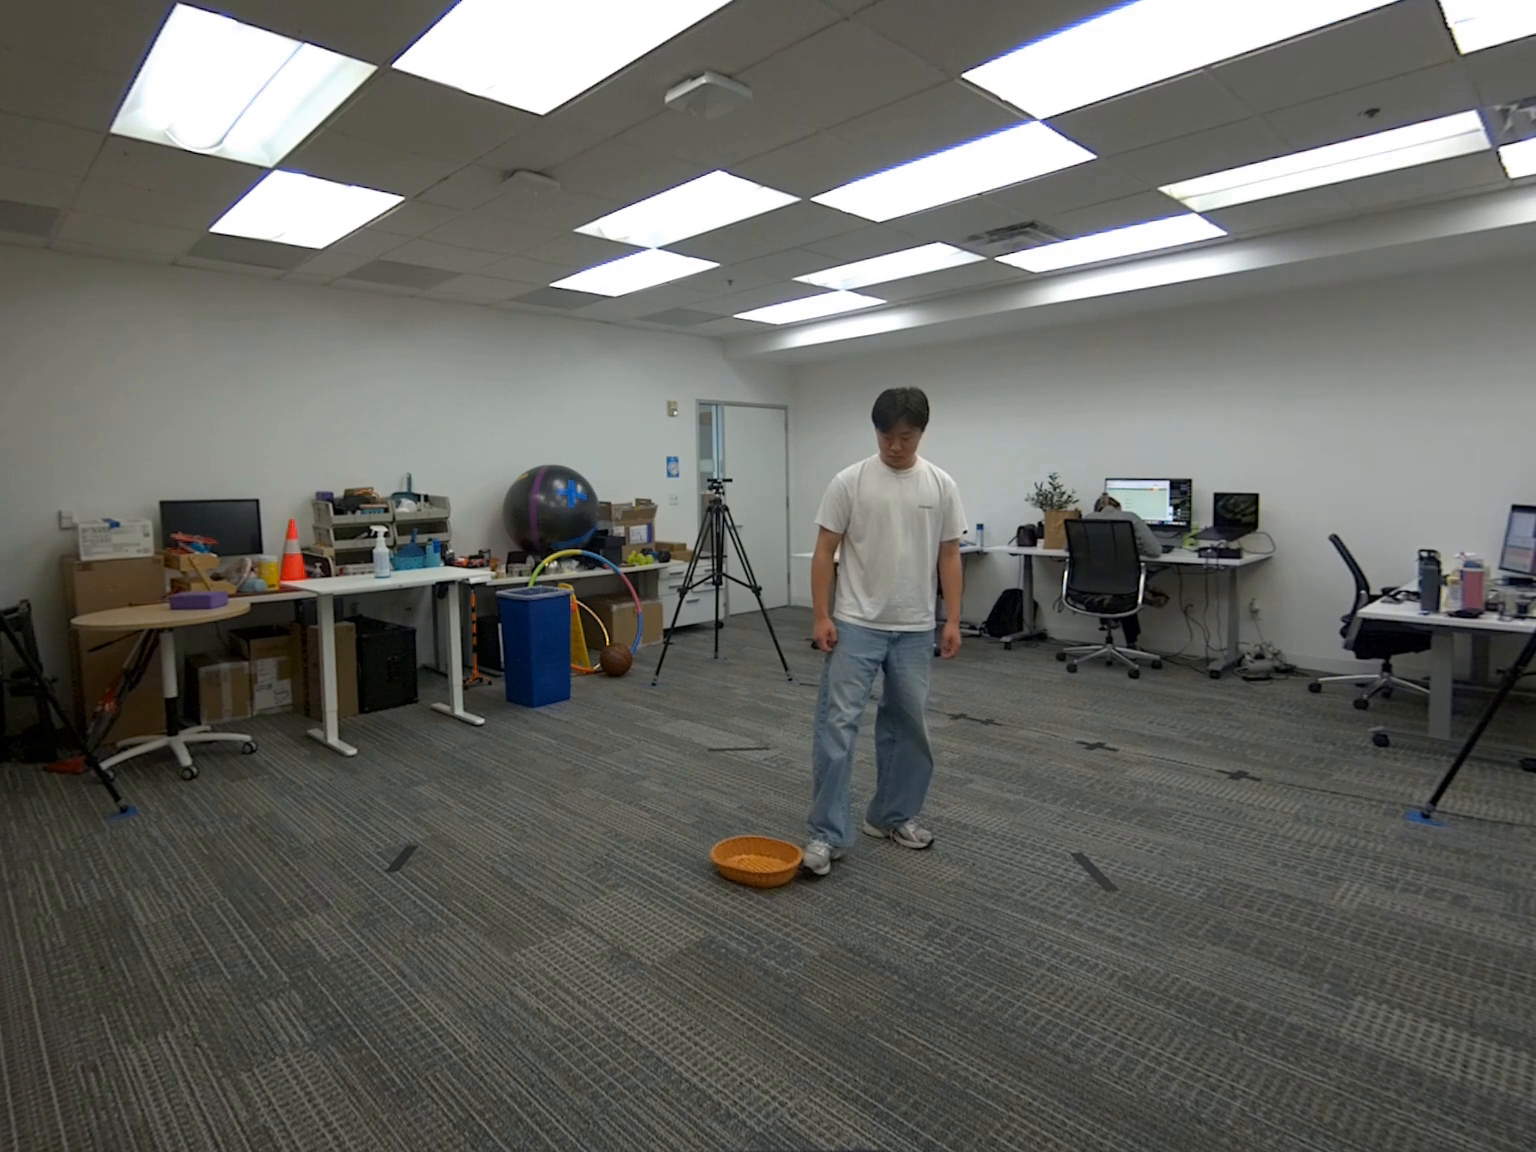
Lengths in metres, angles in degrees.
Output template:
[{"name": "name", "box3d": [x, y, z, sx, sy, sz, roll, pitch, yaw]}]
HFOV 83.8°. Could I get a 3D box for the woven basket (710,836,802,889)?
[{"name": "woven basket", "box3d": [-0.025, 1.007, 3.020, 0.360, 0.073, 0.247, 0, 8, 33]}]
